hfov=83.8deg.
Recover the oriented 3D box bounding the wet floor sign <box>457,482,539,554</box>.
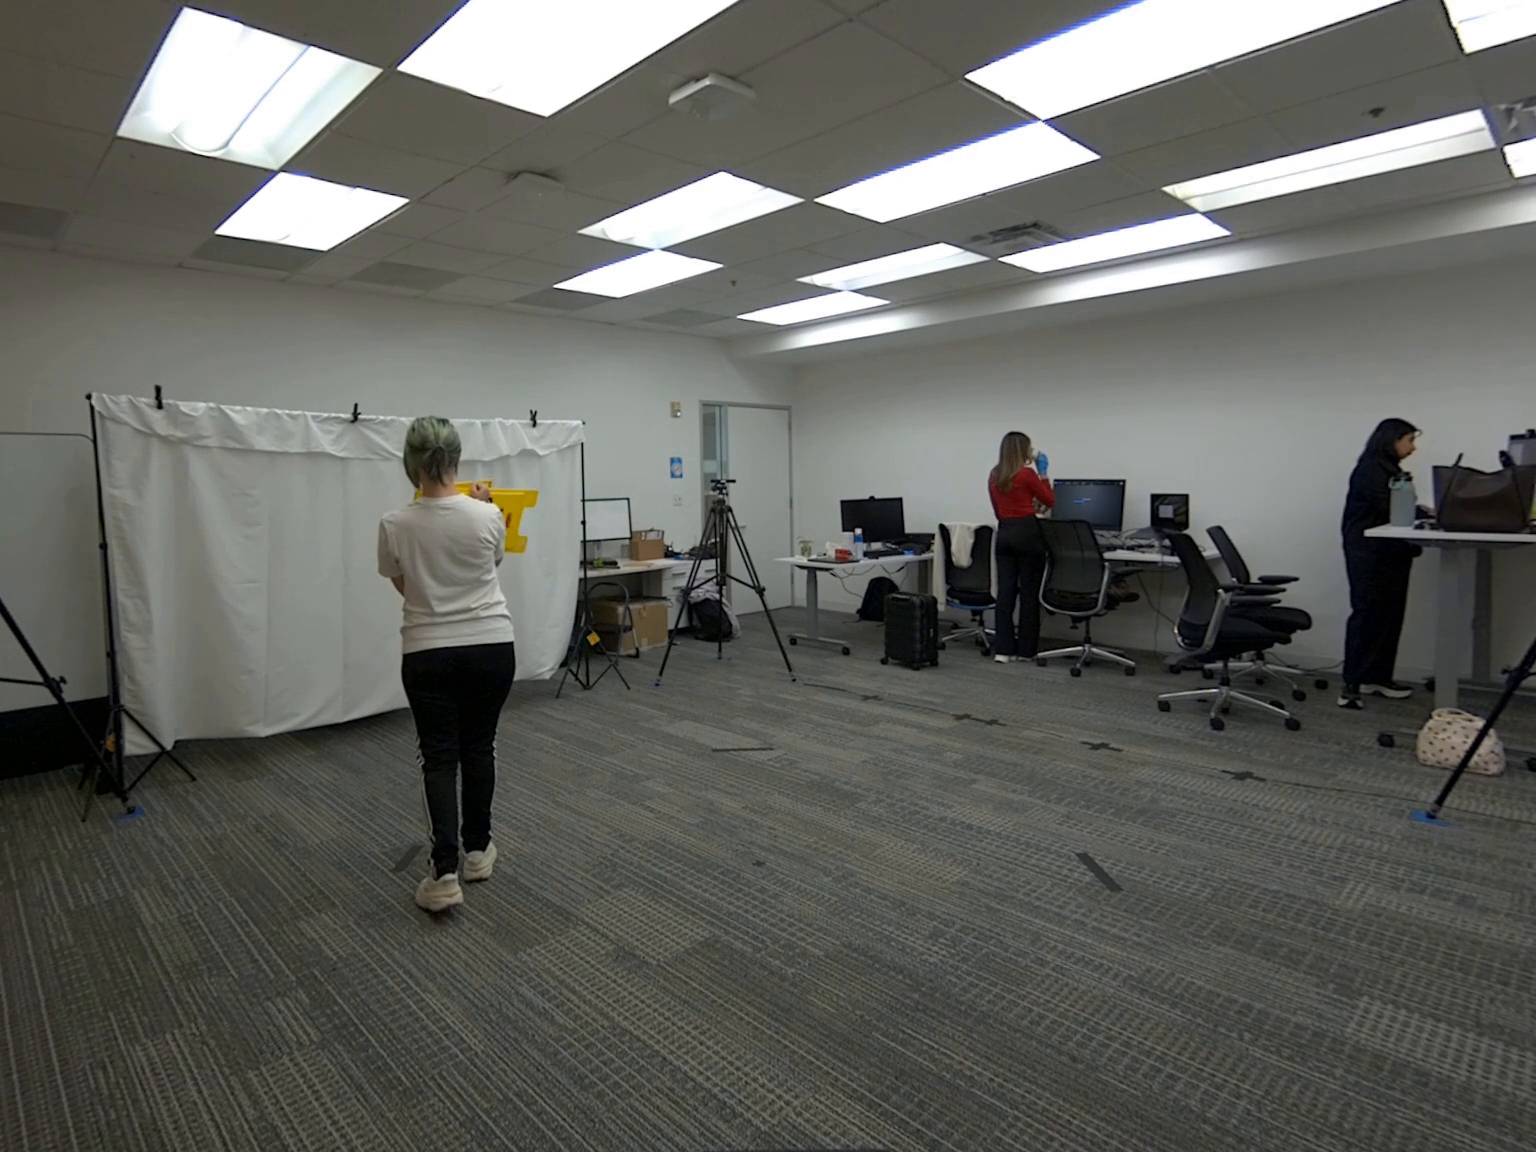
[{"bbox_3d":[-1.200,-0.230,3.364,0.295,0.281,0.637,11,6,14],"label":"wet floor sign"}]
